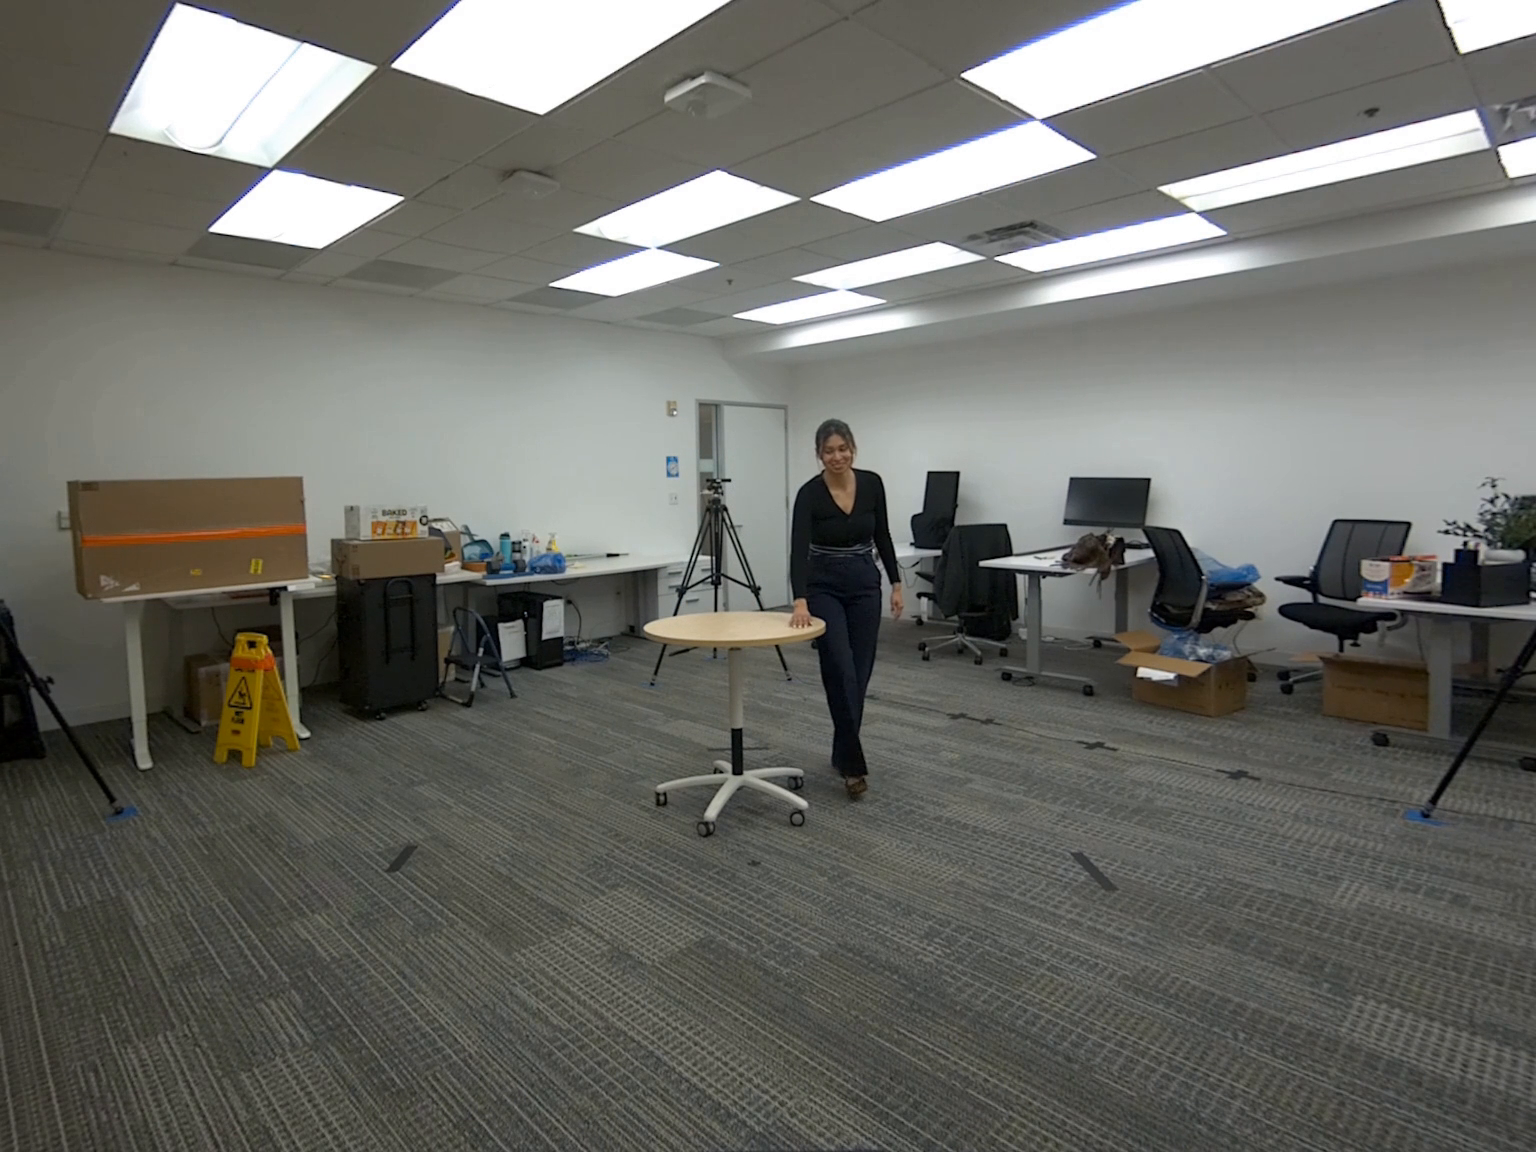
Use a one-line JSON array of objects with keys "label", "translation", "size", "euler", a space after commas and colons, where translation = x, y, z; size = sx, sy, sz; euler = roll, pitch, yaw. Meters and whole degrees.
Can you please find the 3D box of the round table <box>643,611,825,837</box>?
[{"label": "round table", "translation": [-0.129, 0.597, 3.630], "size": [0.763, 0.791, 0.767], "euler": [-1, 4, -2]}]
